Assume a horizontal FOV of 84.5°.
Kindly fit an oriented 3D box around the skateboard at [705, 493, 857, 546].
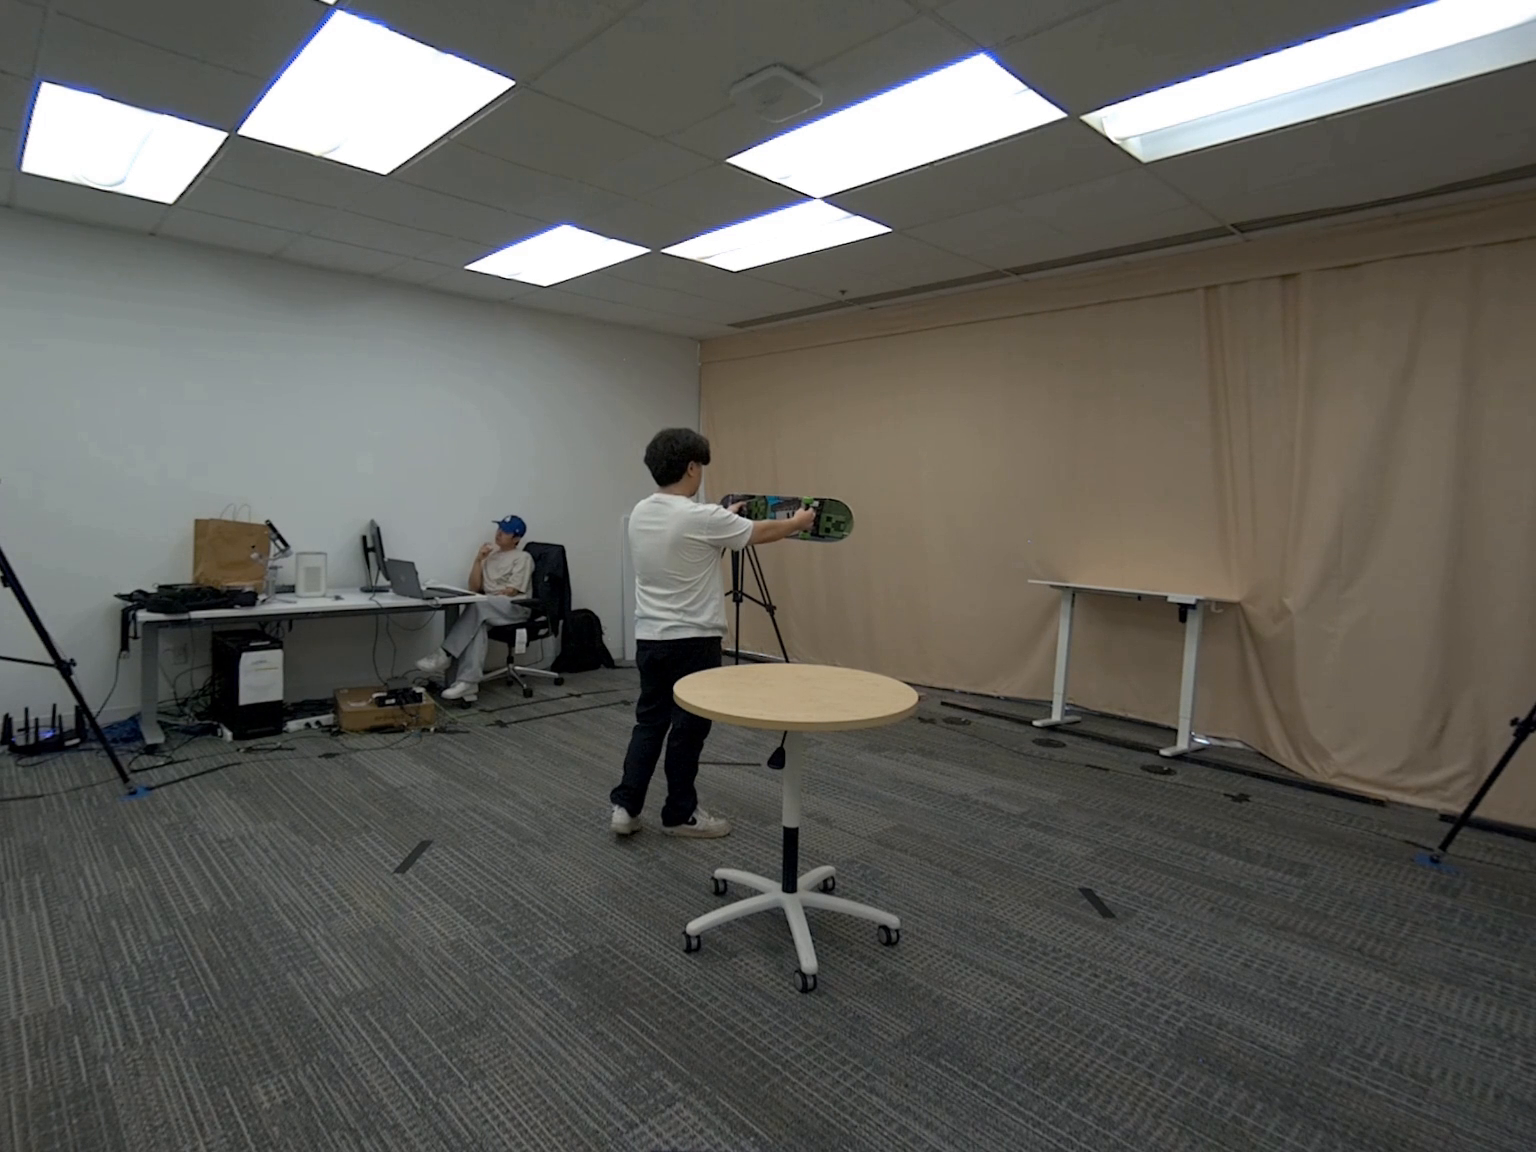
[{"bbox_3d":[0.032,-0.265,3.818,0.806,0.193,0.108,7,6,41],"label":"skateboard"}]
